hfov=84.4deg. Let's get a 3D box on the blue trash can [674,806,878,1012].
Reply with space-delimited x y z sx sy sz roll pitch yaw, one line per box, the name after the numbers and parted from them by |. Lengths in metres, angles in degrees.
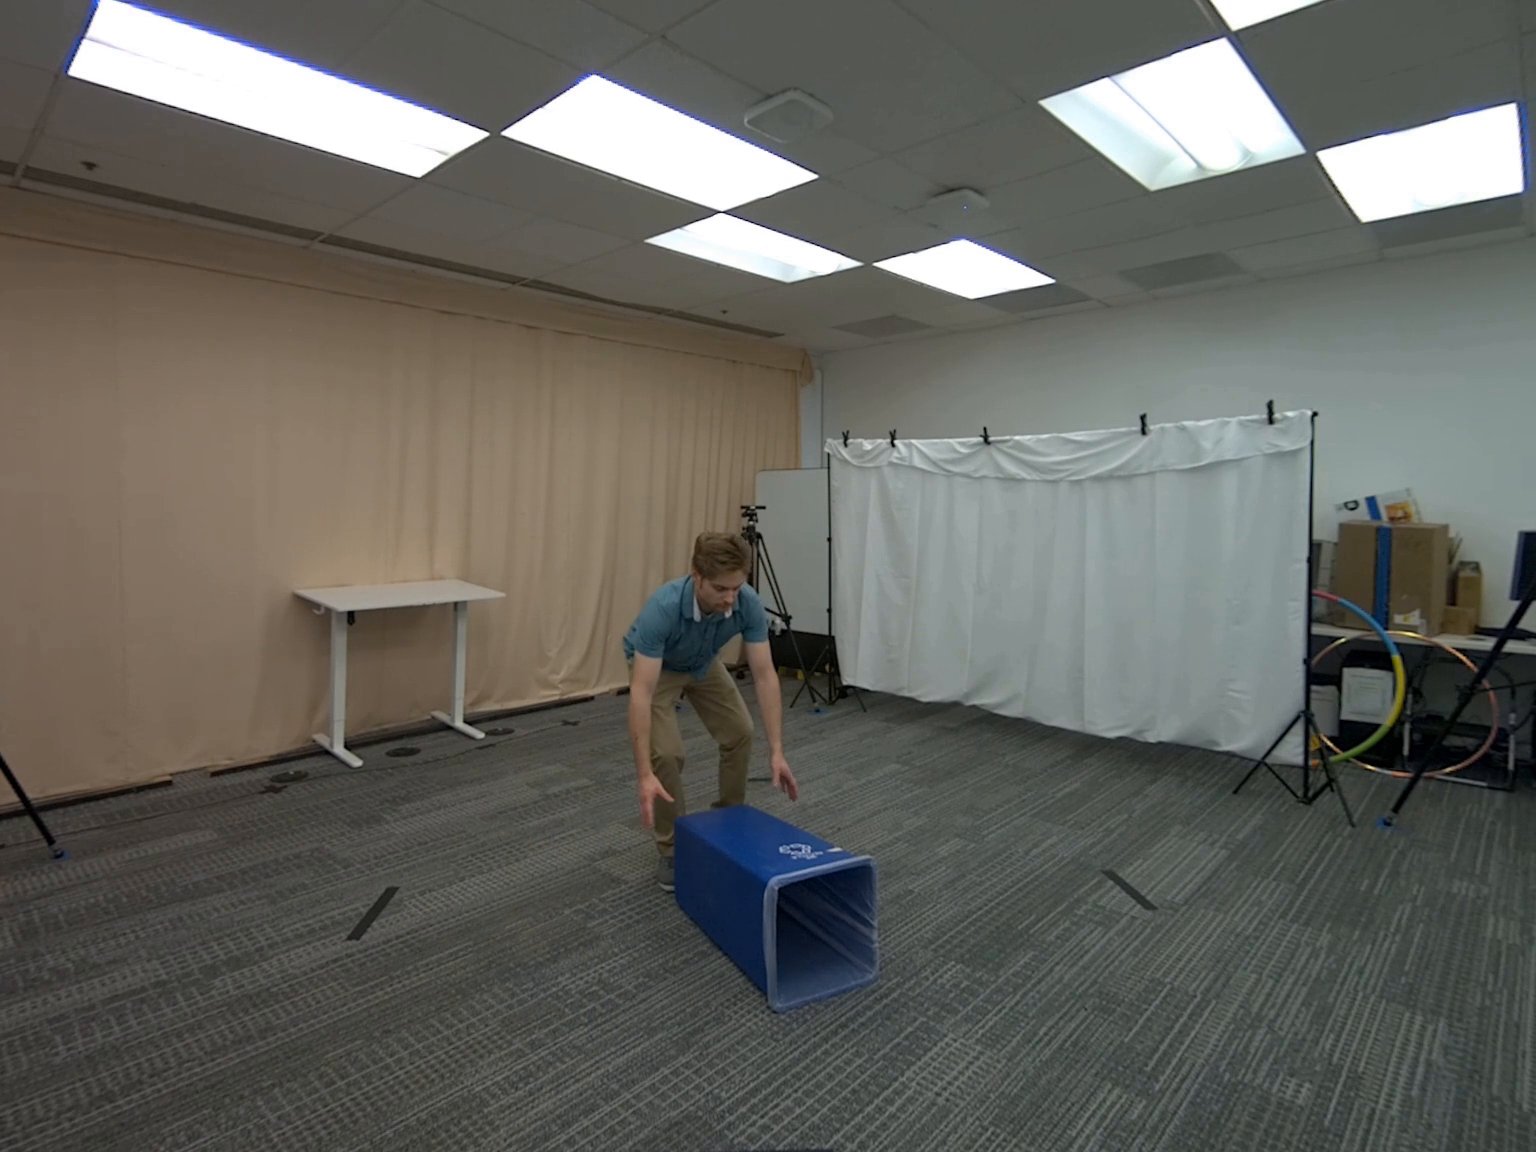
-0.013 1.000 2.690 0.364 0.378 0.733 -1 2 -30 | blue trash can
